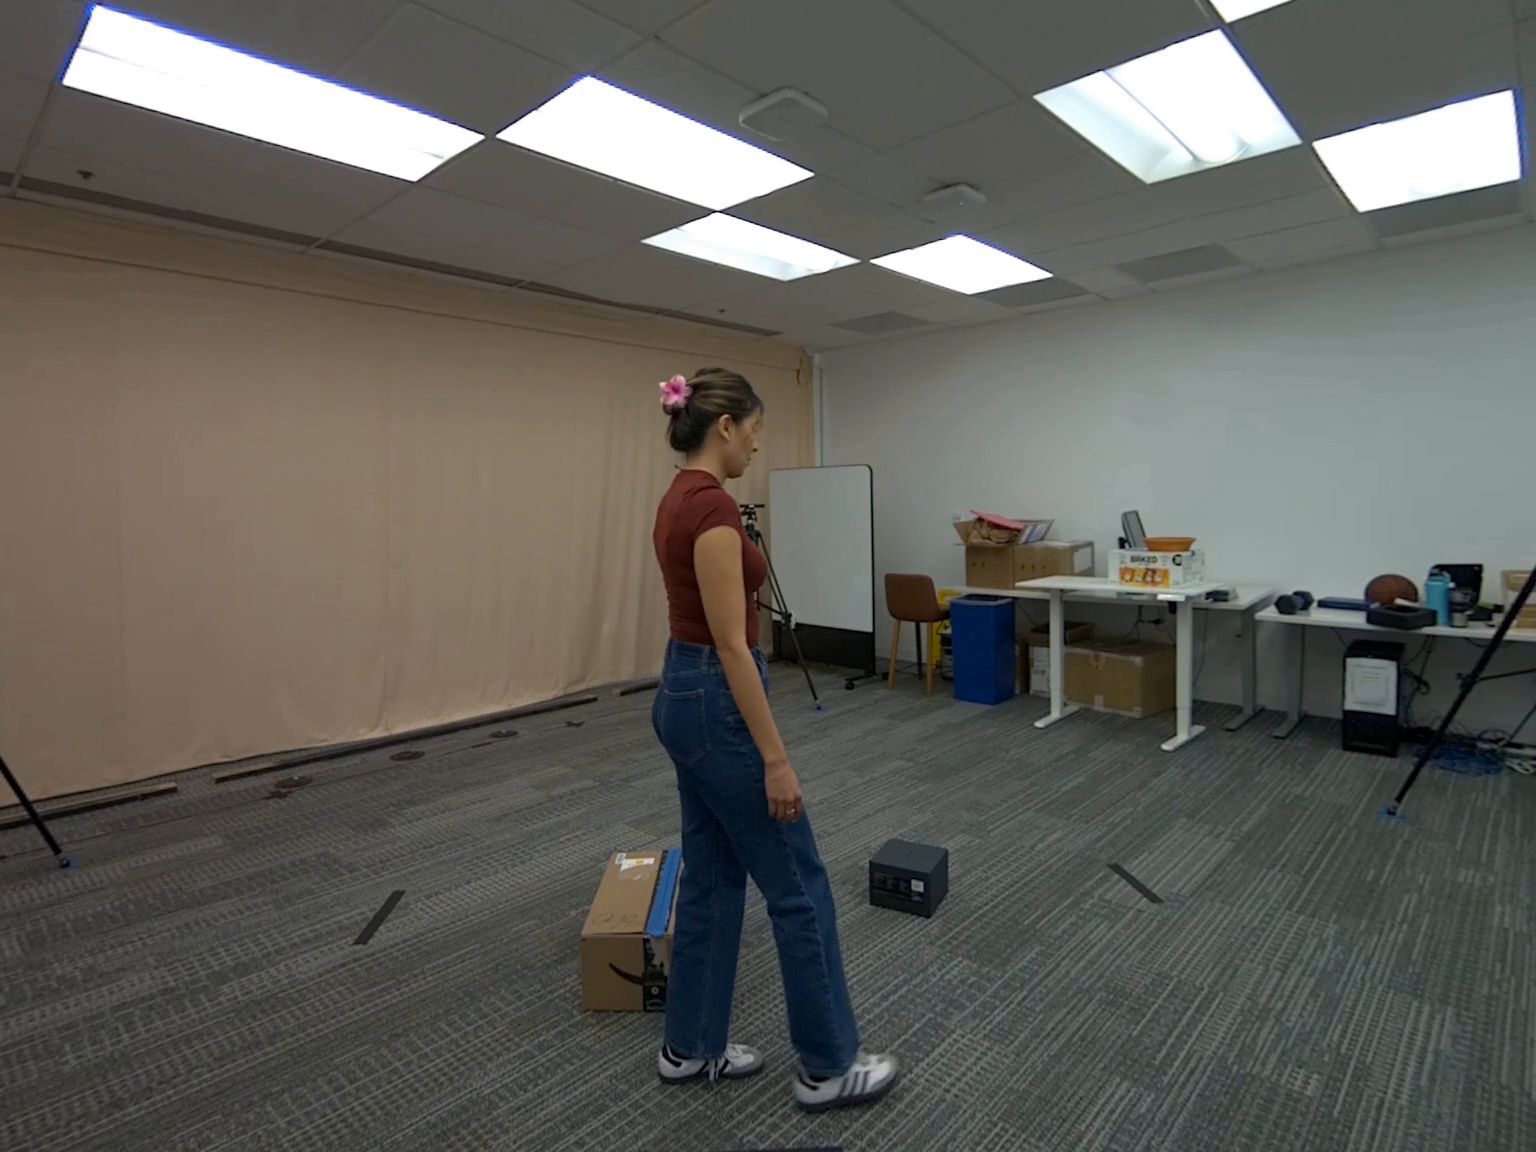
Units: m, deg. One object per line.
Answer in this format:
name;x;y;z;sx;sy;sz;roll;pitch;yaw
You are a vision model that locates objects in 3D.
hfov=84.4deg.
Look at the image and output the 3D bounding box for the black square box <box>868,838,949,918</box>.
black square box;0.497;1.047;2.950;0.223;0.155;0.222;1;5;28
